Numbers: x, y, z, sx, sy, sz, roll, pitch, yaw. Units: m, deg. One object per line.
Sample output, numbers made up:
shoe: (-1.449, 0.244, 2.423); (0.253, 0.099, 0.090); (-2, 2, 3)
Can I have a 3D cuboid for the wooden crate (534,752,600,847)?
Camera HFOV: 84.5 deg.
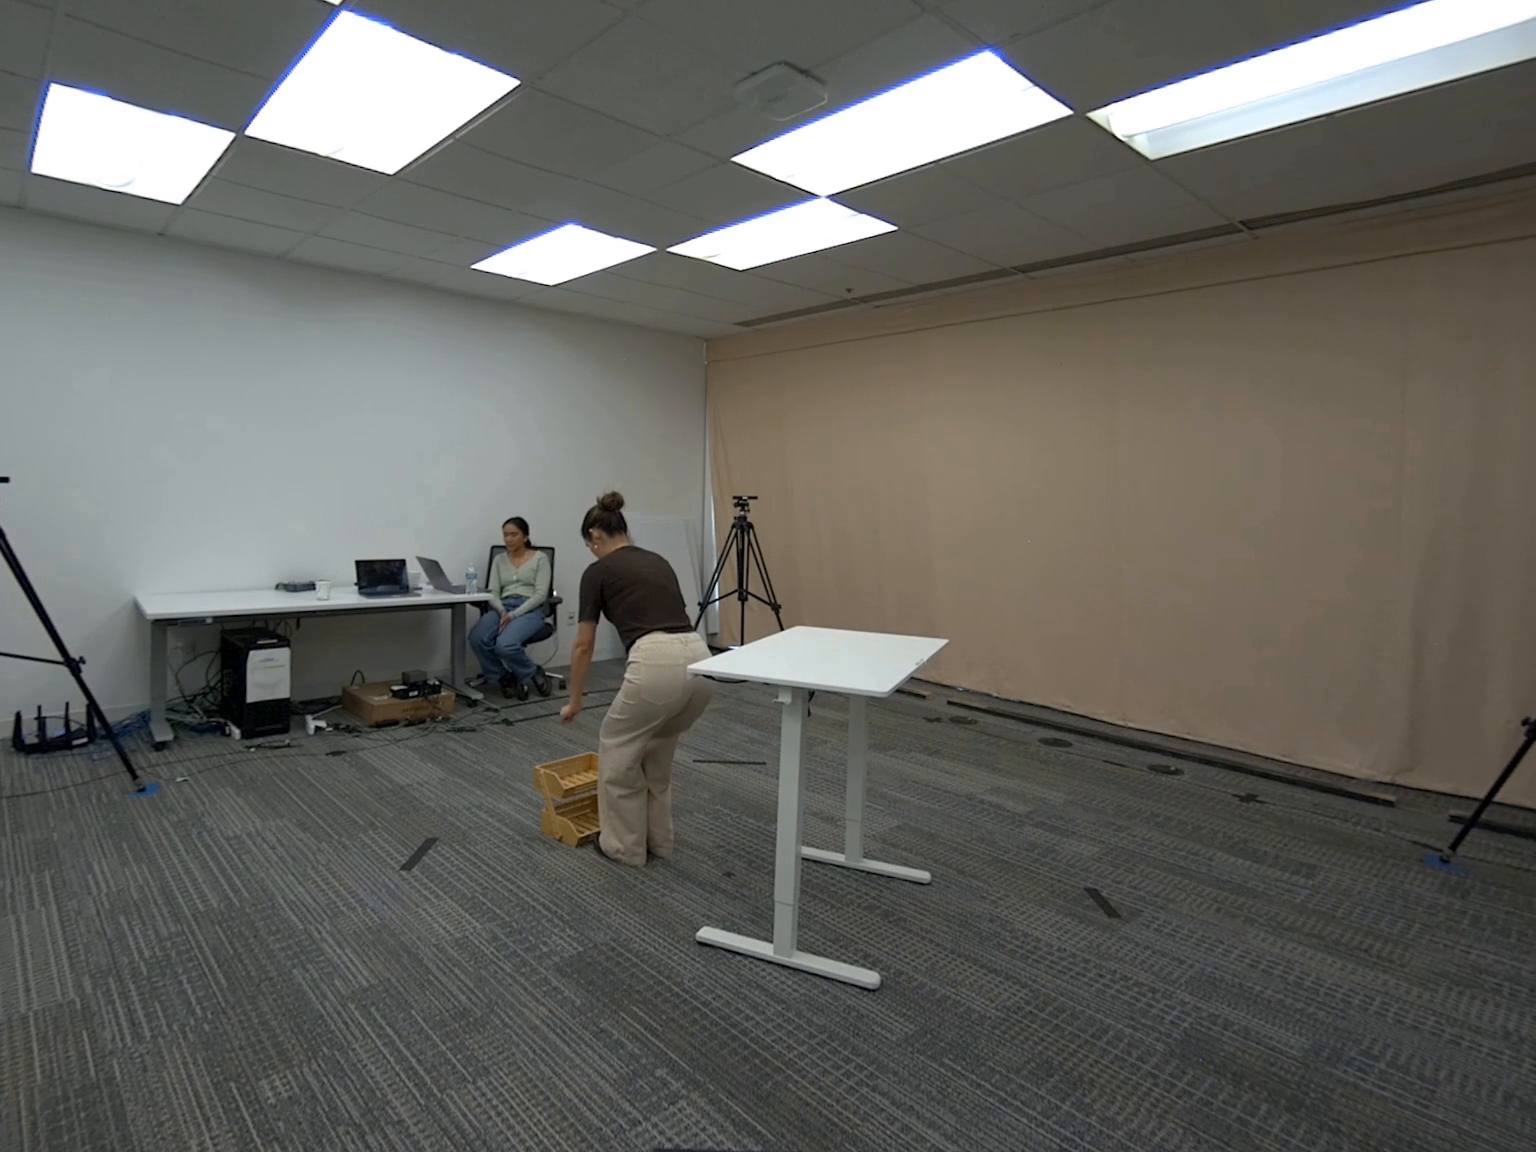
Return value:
wooden crate: (-0.768, 0.917, 3.504); (0.309, 0.273, 0.317); (4, 4, 41)
